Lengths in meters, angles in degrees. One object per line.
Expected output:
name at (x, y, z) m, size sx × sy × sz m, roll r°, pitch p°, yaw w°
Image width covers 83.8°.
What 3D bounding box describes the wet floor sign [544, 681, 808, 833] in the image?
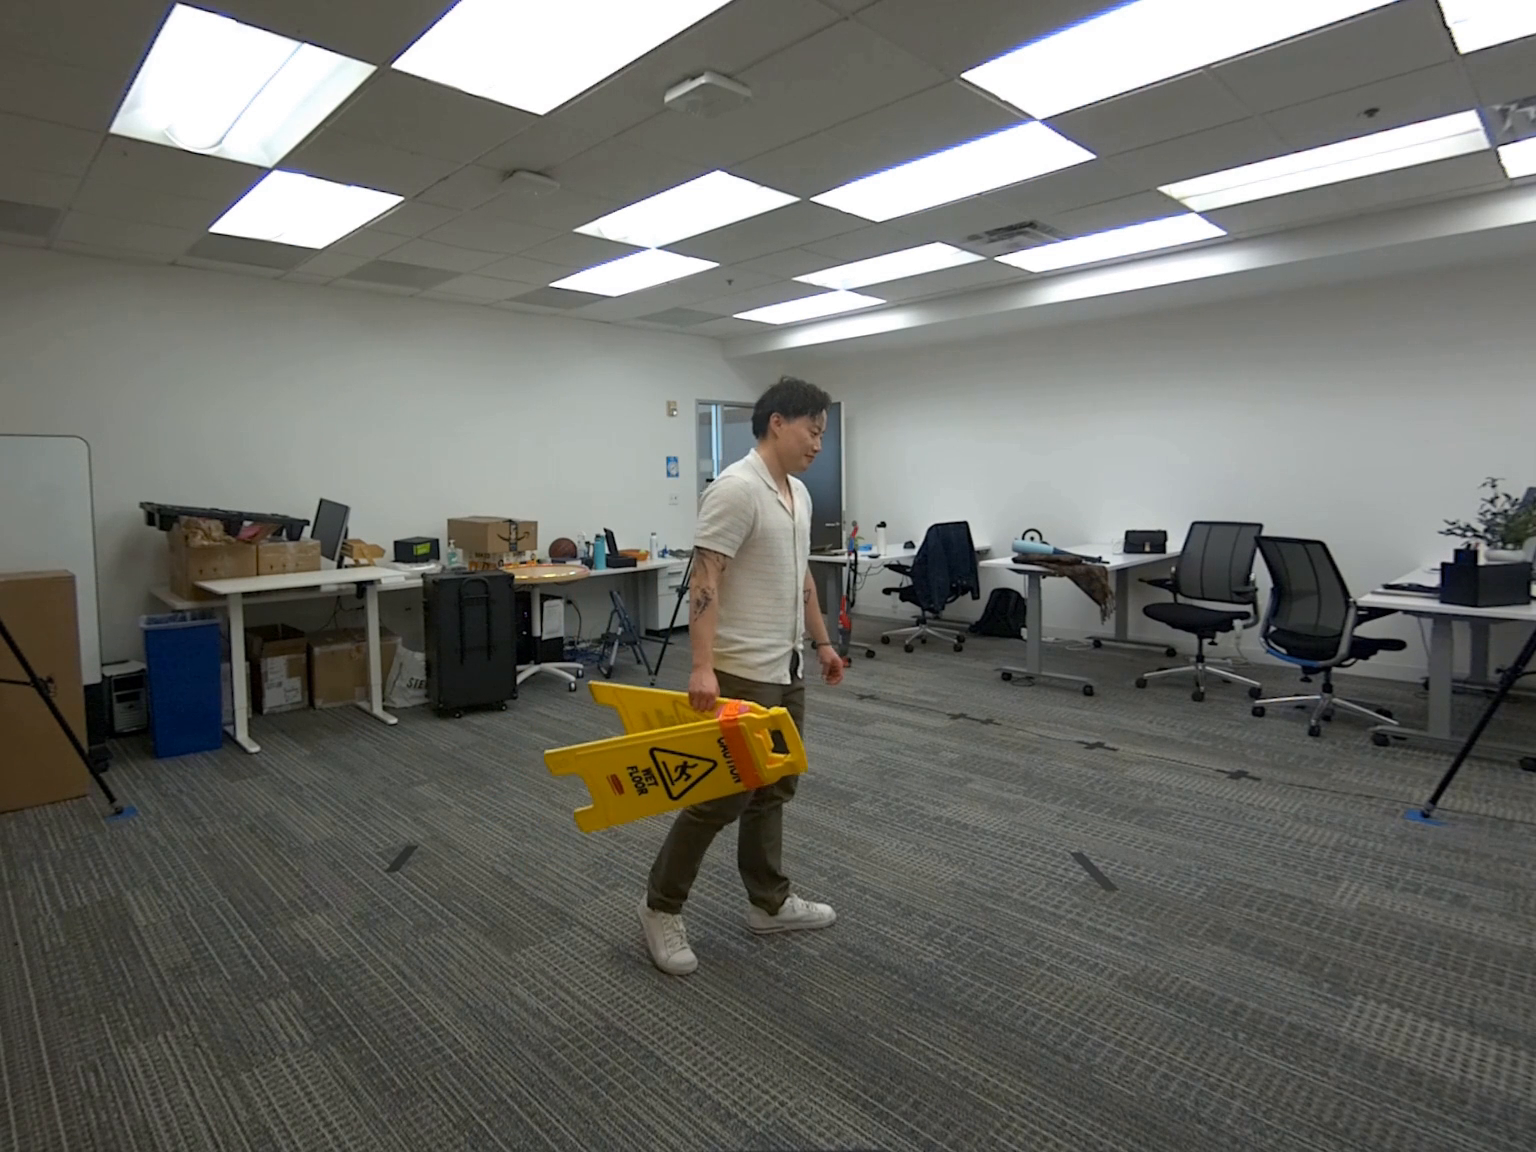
wet floor sign at (-0.215, 0.463, 2.276) m, size 0.657 × 0.275 × 0.292 m, roll -9°, pitch 27°, yaw 22°
